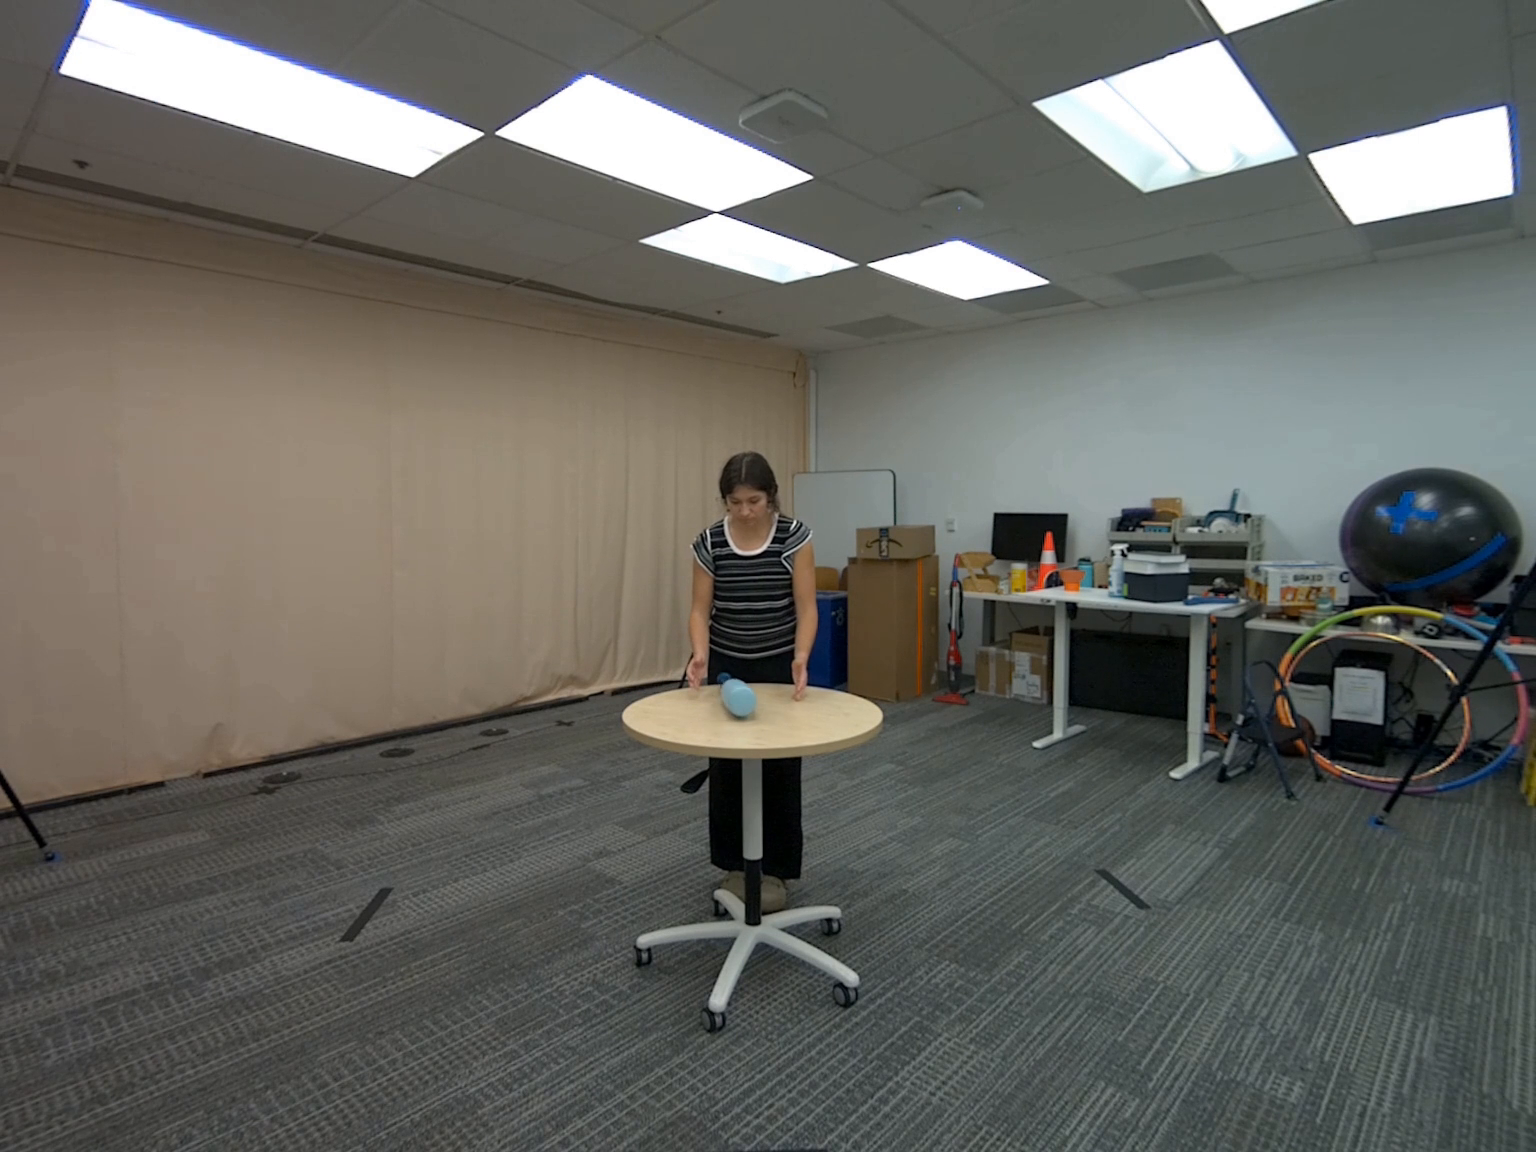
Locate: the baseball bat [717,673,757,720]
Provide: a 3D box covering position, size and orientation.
[{"bbox_3d":[-0.095,0.356,2.641,0.089,0.089,0.544,0,0,-4],"label":"baseball bat"}]
